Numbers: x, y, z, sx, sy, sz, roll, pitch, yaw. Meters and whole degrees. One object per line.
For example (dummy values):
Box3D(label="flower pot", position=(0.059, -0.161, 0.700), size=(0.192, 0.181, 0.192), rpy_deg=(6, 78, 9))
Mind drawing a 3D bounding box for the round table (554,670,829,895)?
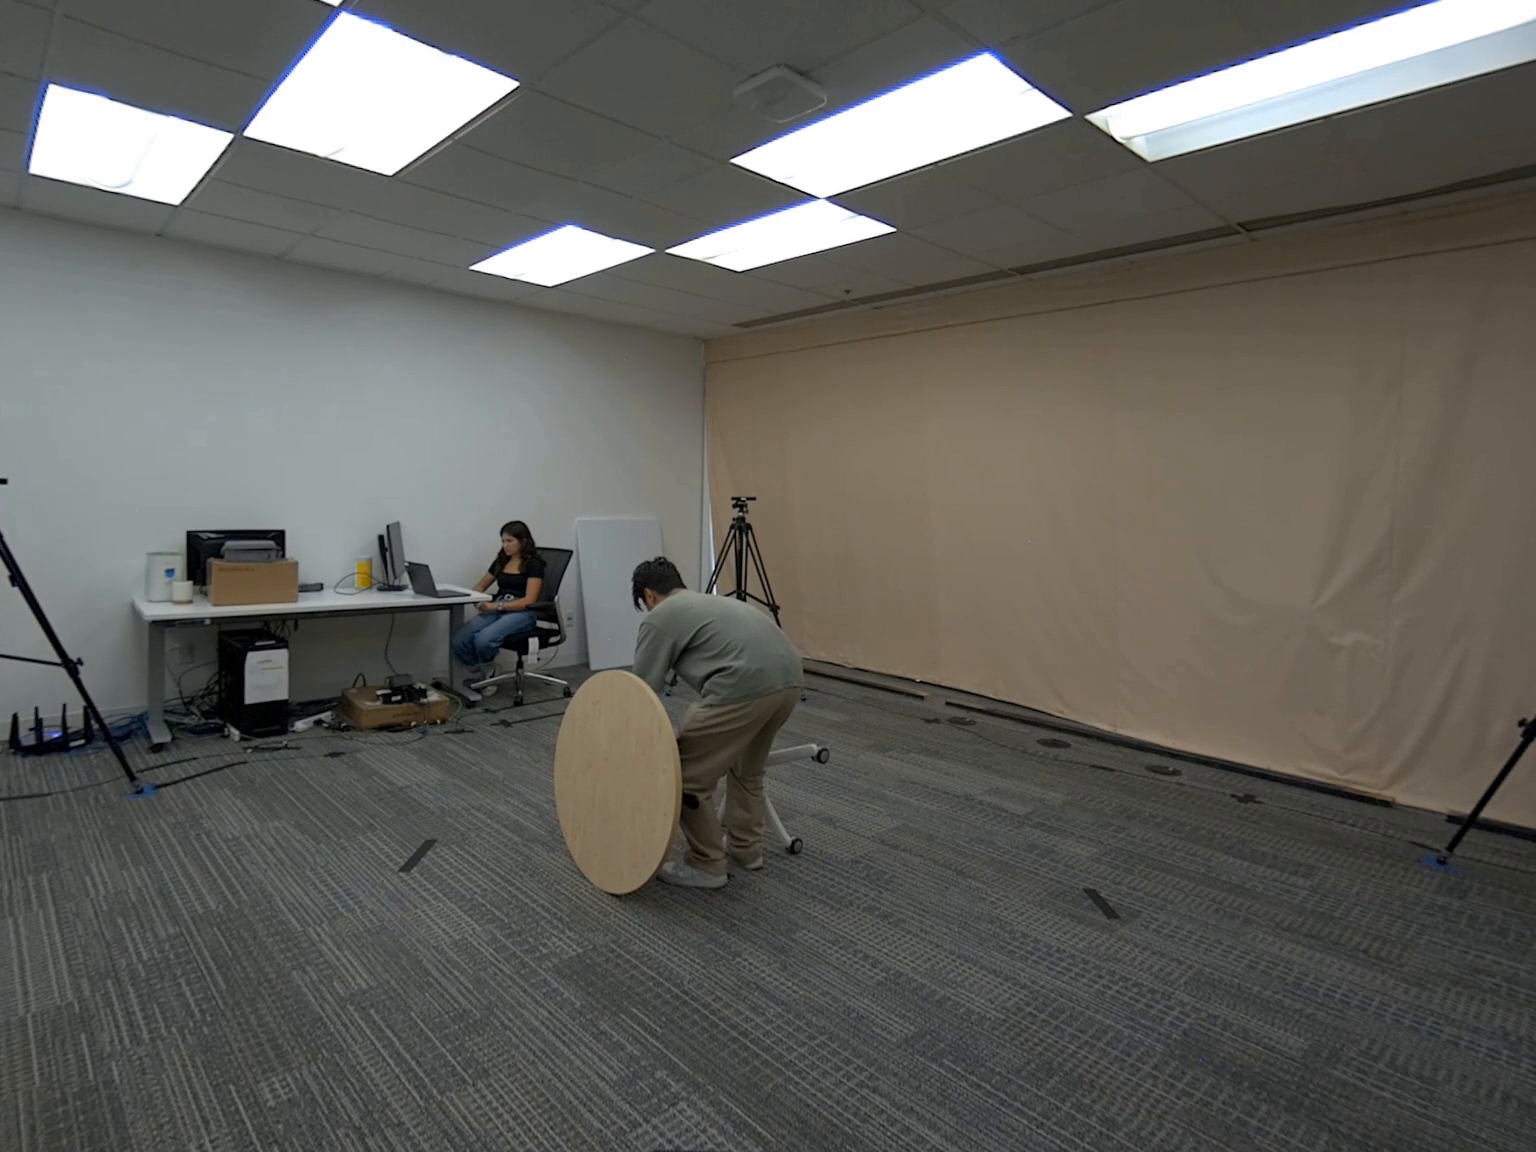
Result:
Box3D(label="round table", position=(-0.294, 0.756, 3.268), size=(0.766, 0.786, 0.805), rpy_deg=(7, -1, -43))
